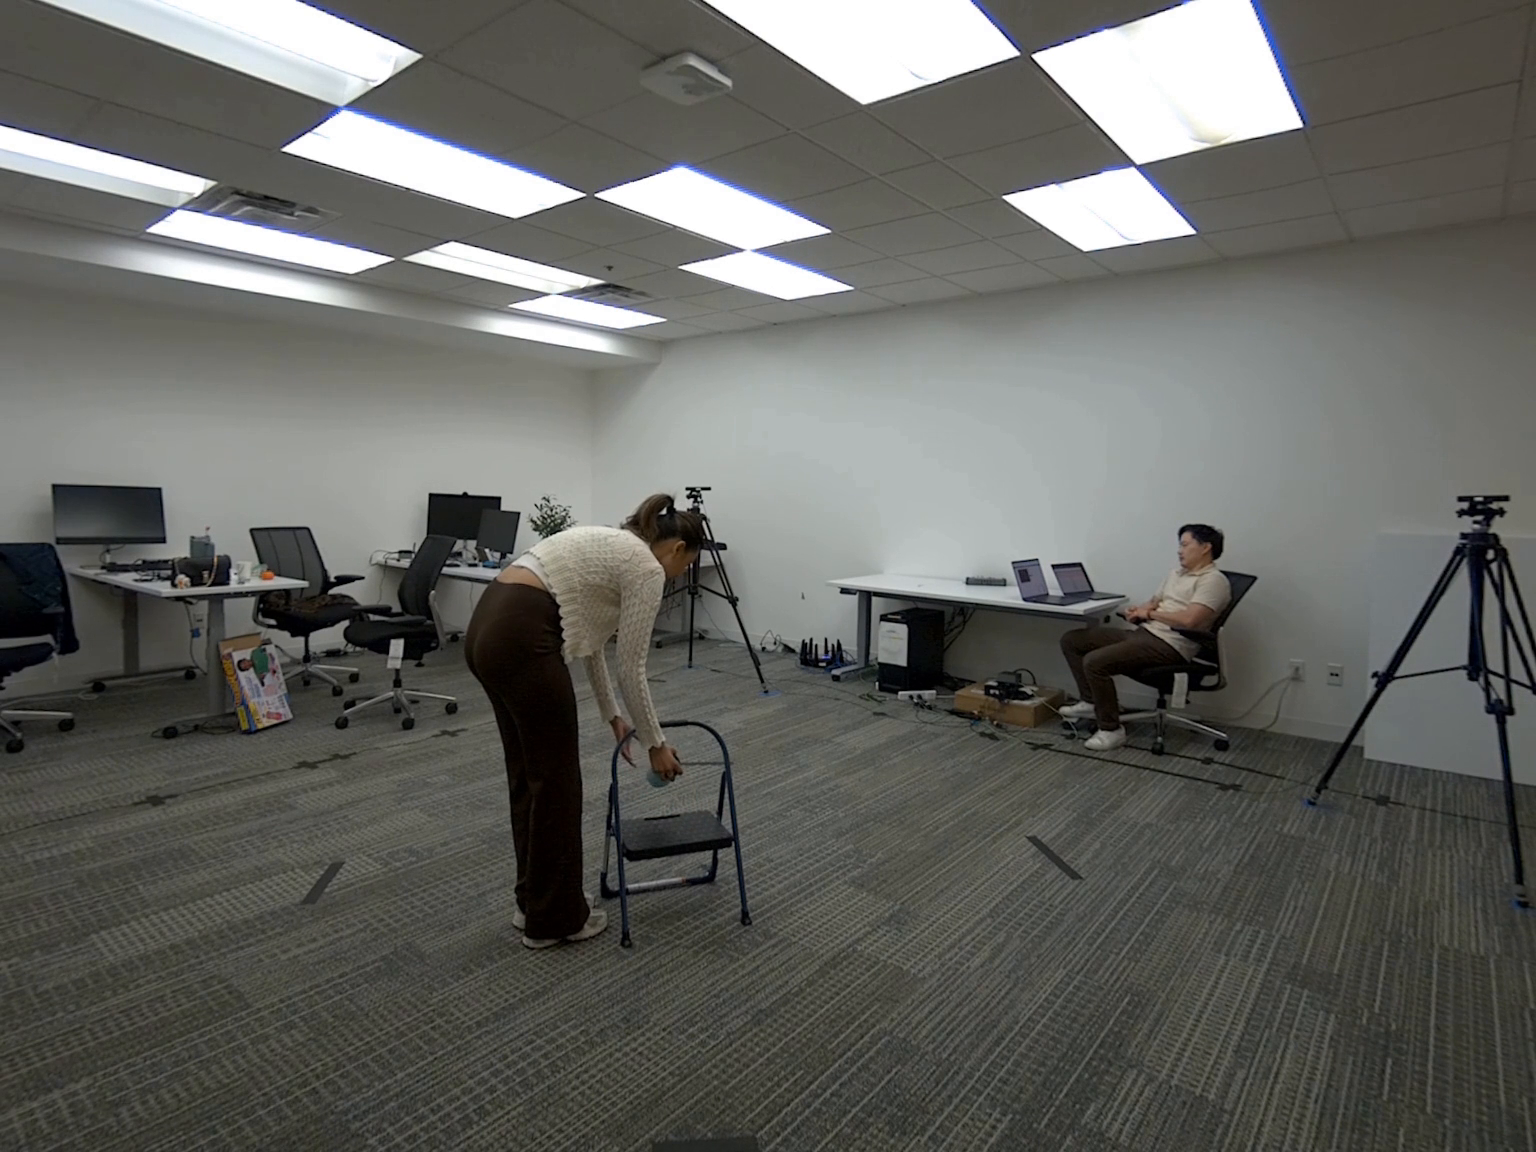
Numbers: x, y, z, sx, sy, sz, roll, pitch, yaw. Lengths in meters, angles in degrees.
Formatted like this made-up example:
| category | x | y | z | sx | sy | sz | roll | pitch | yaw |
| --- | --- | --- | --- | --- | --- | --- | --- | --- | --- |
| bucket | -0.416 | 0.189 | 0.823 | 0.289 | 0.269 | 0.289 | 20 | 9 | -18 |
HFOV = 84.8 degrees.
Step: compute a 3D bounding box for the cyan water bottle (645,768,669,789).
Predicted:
| category | x | y | z | sx | sy | sz | roll | pitch | yaw |
| --- | --- | --- | --- | --- | --- | --- | --- | --- | --- |
| cyan water bottle | -0.350 | 0.634 | 2.792 | 0.091 | 0.094 | 0.280 | 1 | -20 | -9 |
